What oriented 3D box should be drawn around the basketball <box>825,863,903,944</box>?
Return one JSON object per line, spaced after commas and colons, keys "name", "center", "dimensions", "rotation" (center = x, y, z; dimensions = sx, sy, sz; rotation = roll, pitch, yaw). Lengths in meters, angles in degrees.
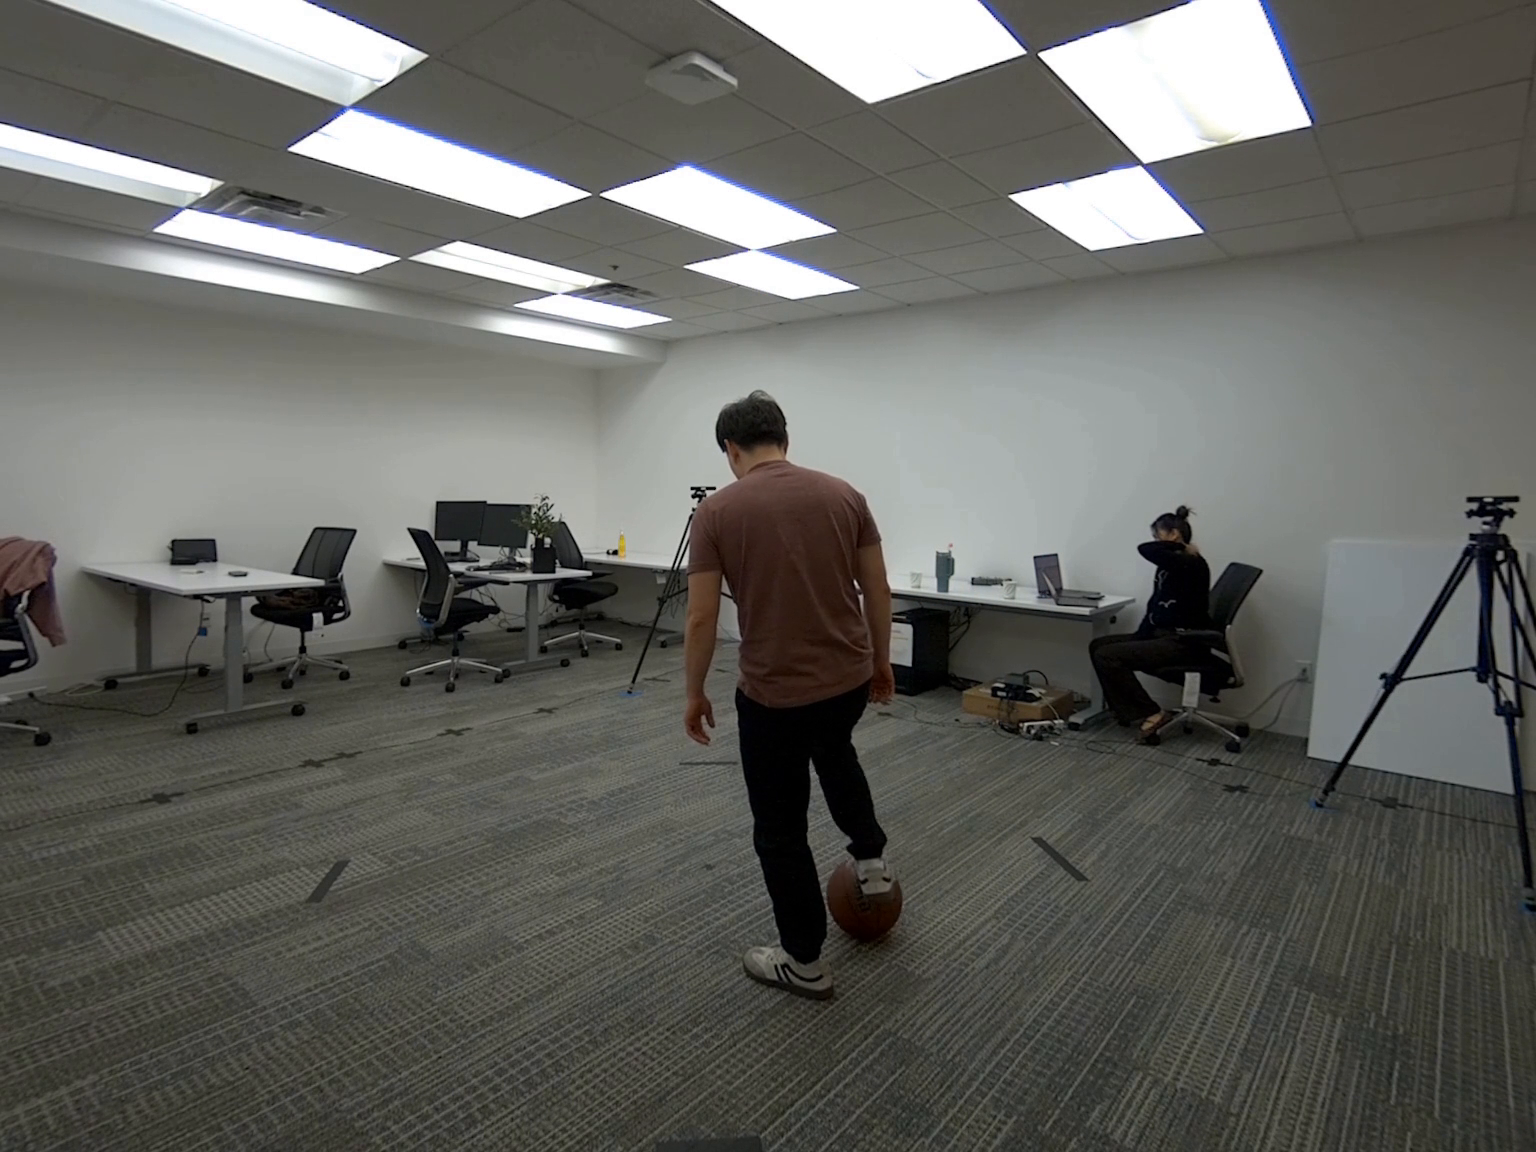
{"name": "basketball", "center": [0.296, 1.001, 2.679], "dimensions": [0.235, 0.235, 0.237], "rotation": [1, 4, -2]}
